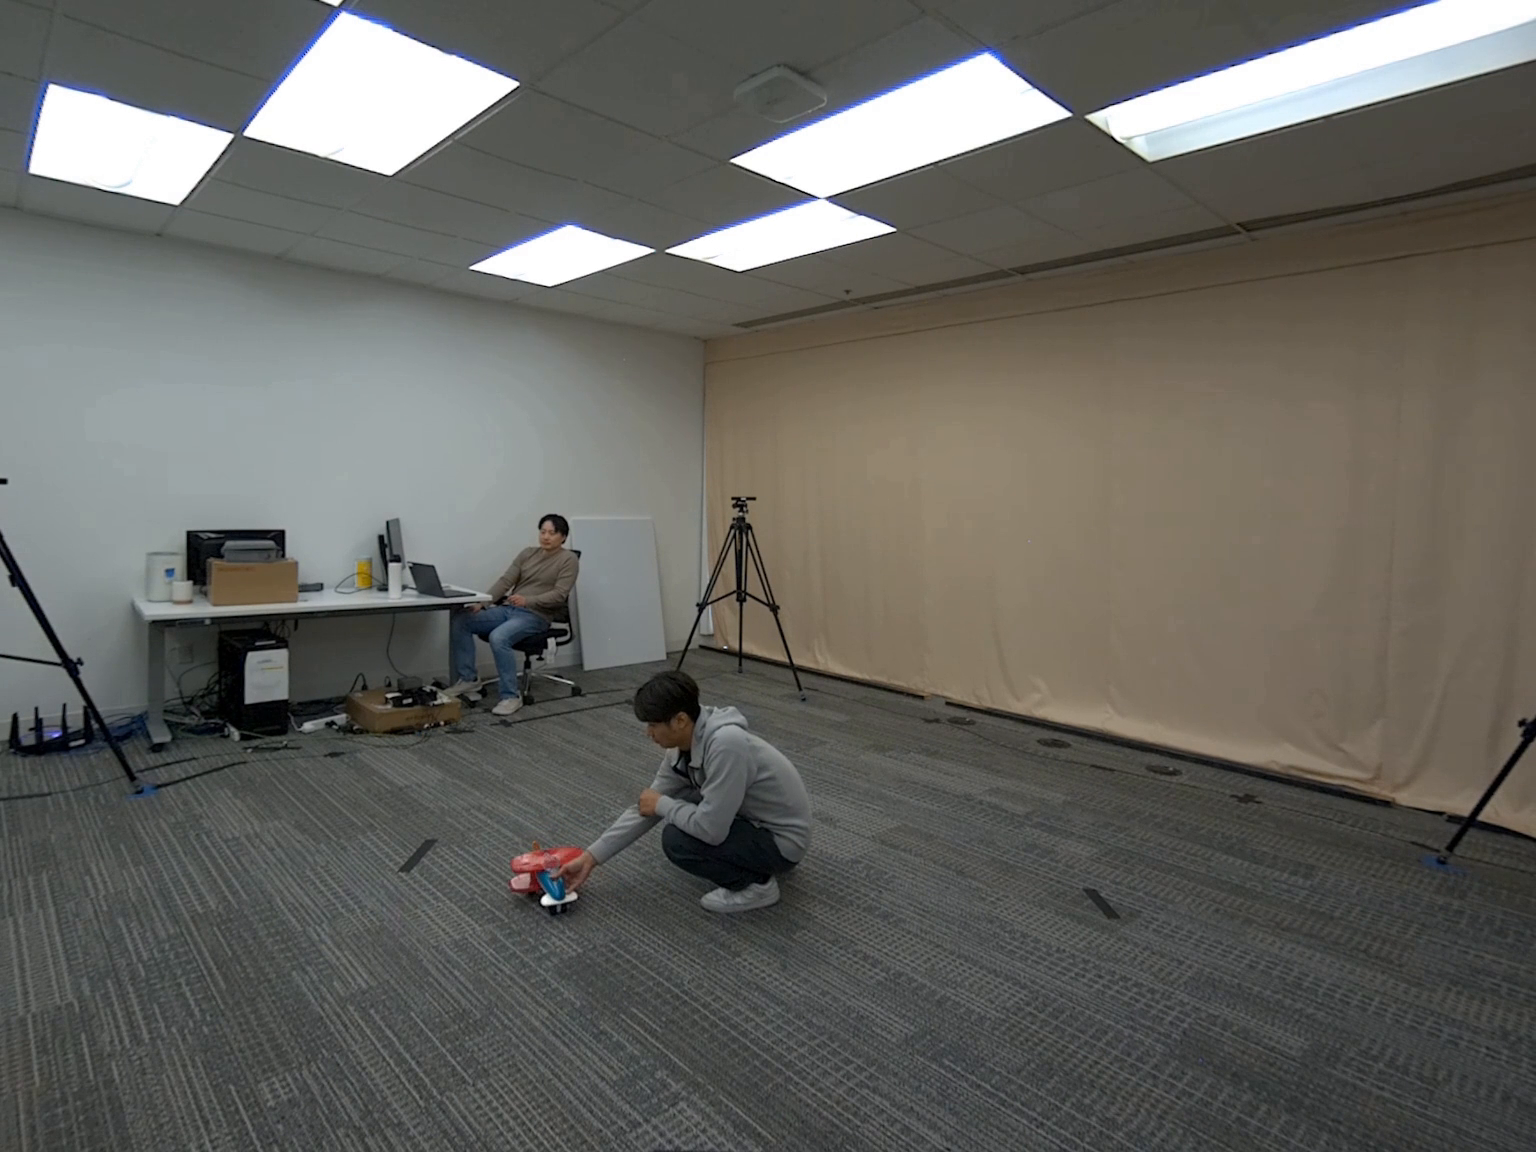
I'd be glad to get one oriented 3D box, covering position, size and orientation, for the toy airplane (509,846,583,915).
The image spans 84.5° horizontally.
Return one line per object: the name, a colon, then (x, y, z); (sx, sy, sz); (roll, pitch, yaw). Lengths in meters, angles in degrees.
toy airplane: (-0.729, 1.036, 2.885); (0.265, 0.156, 0.246); (4, 5, 34)
